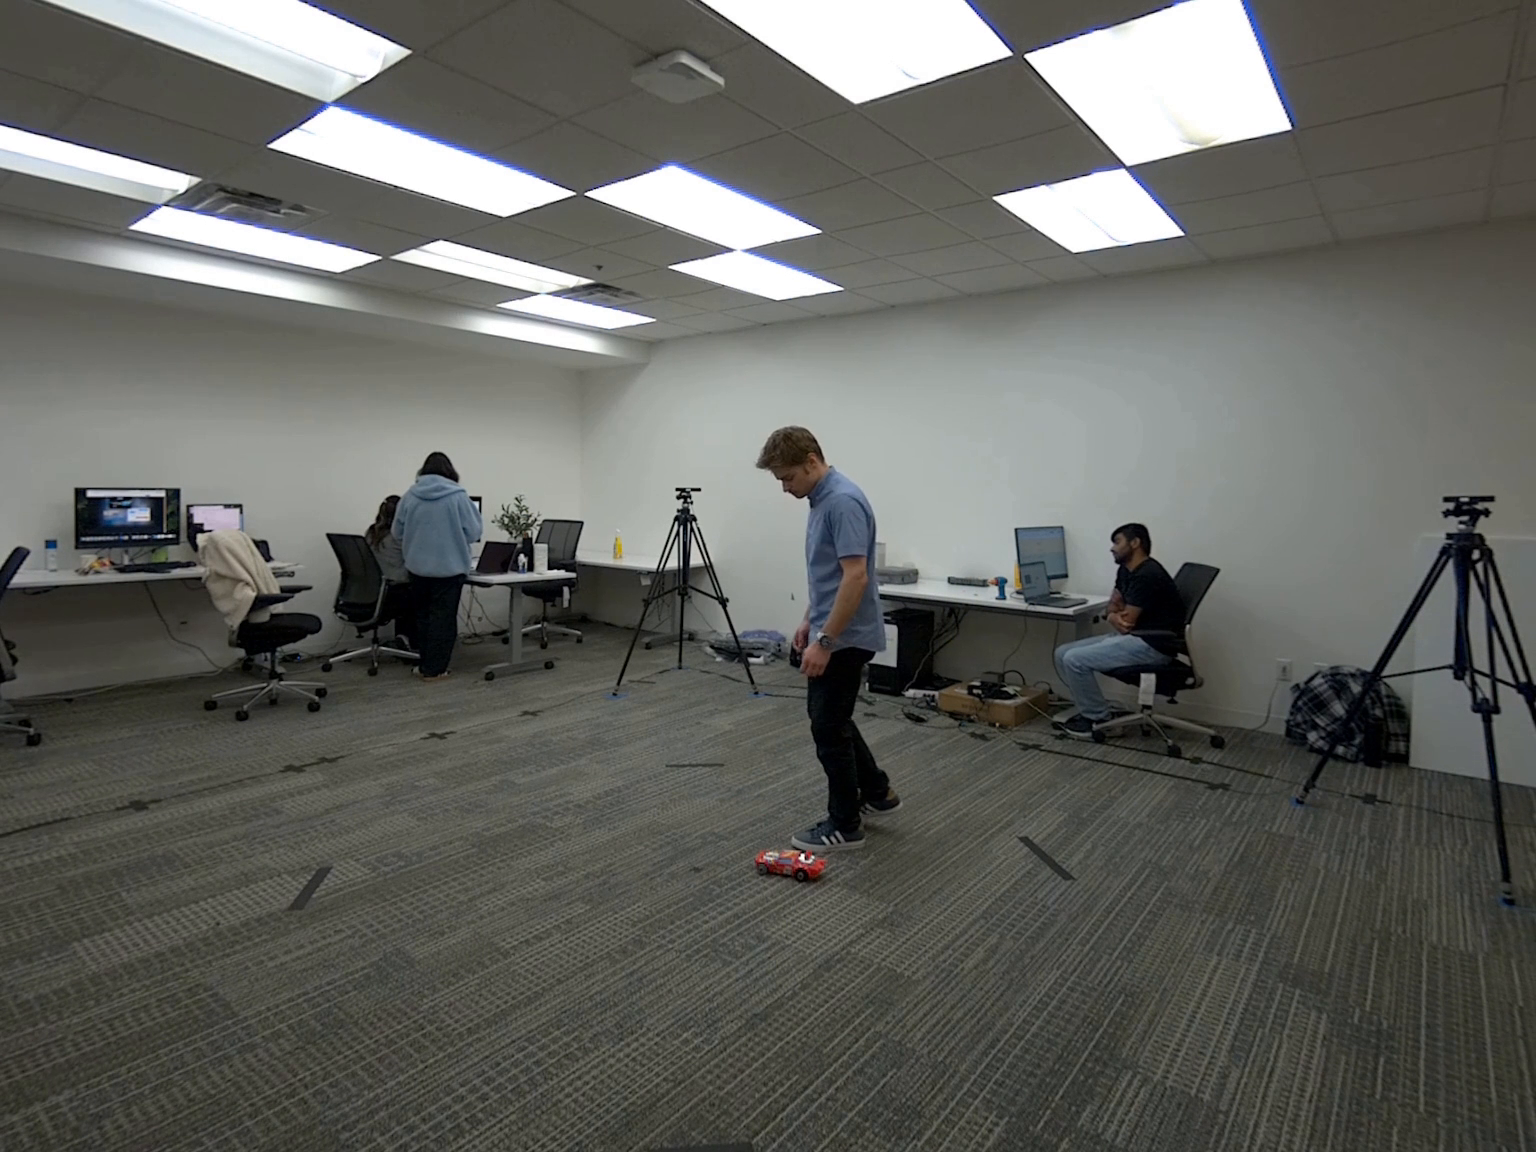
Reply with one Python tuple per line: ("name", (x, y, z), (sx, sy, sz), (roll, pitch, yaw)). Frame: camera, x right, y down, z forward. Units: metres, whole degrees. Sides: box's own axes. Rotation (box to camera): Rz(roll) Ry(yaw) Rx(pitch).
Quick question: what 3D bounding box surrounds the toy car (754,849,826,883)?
("toy car", (0.080, 1.042, 3.087), (0.259, 0.083, 0.128), (-9, 1, 19))
